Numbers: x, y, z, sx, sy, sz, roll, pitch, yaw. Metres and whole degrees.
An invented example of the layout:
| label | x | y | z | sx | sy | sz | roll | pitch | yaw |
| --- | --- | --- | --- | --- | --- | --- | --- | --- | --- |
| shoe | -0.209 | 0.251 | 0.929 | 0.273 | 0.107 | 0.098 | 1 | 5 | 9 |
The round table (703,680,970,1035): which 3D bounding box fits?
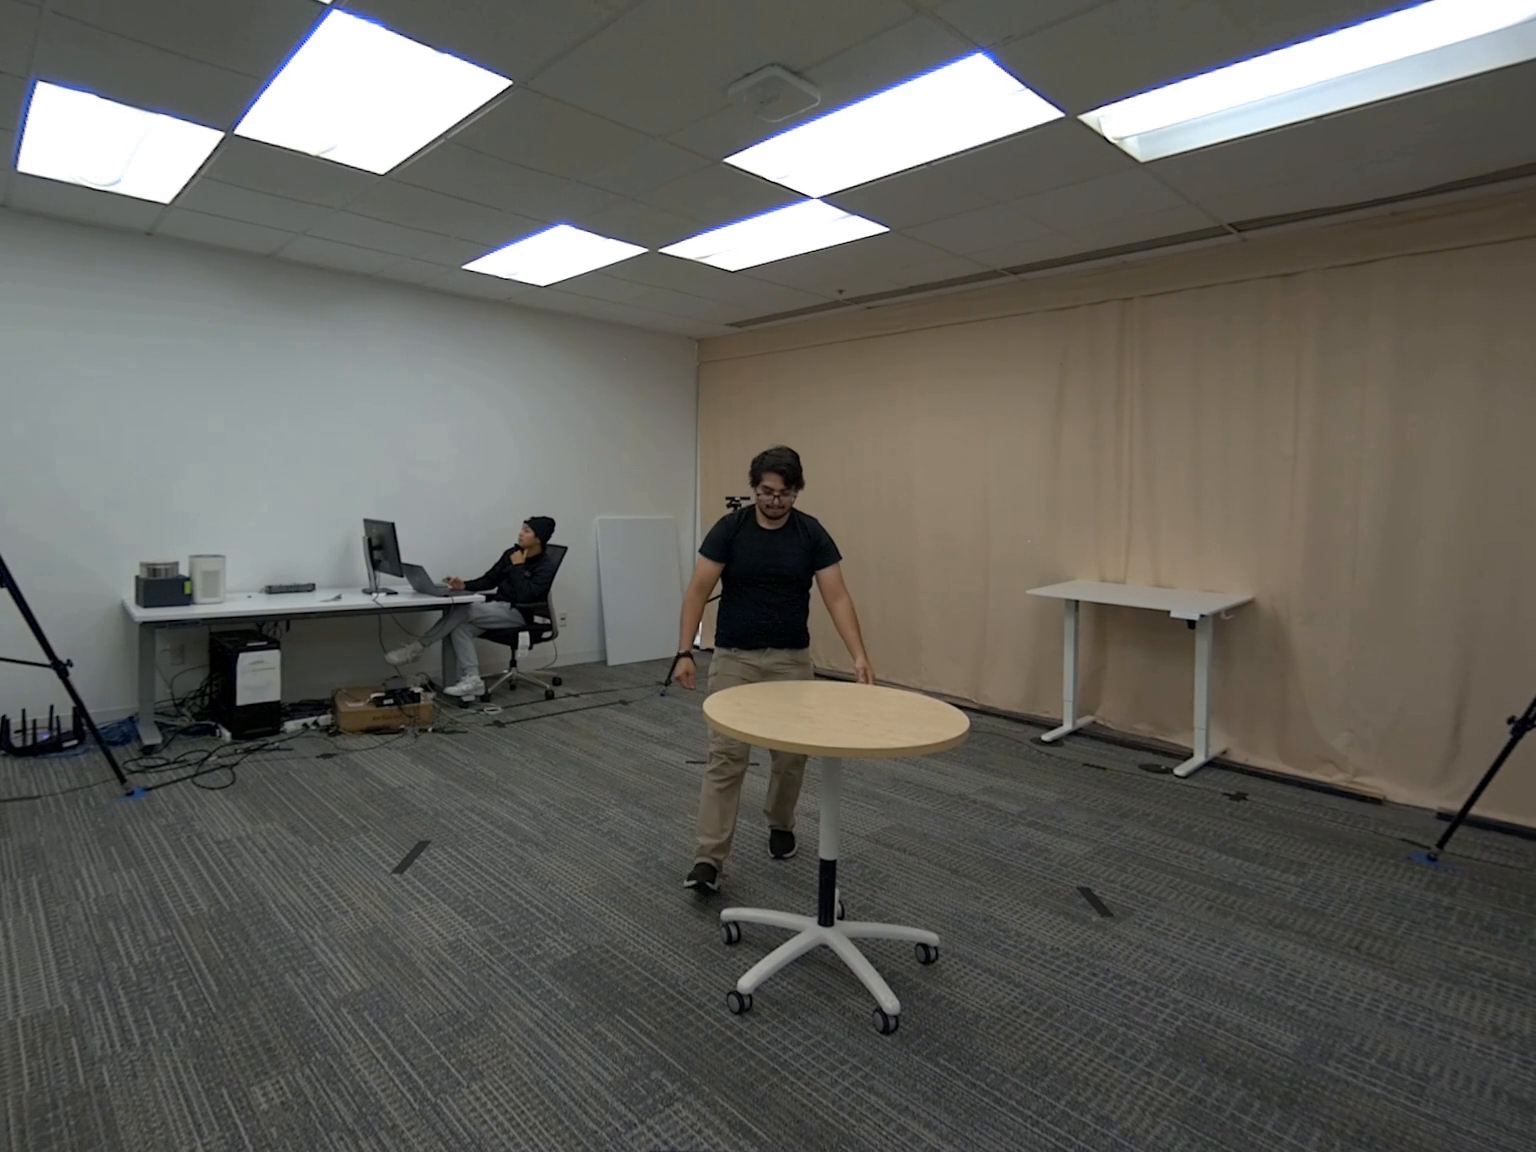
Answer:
| label | x | y | z | sx | sy | sz | roll | pitch | yaw |
| --- | --- | --- | --- | --- | --- | --- | --- | --- | --- |
| round table | 0.154 | 0.782 | 2.469 | 0.784 | 0.784 | 0.787 | 2 | 4 | -1 |
